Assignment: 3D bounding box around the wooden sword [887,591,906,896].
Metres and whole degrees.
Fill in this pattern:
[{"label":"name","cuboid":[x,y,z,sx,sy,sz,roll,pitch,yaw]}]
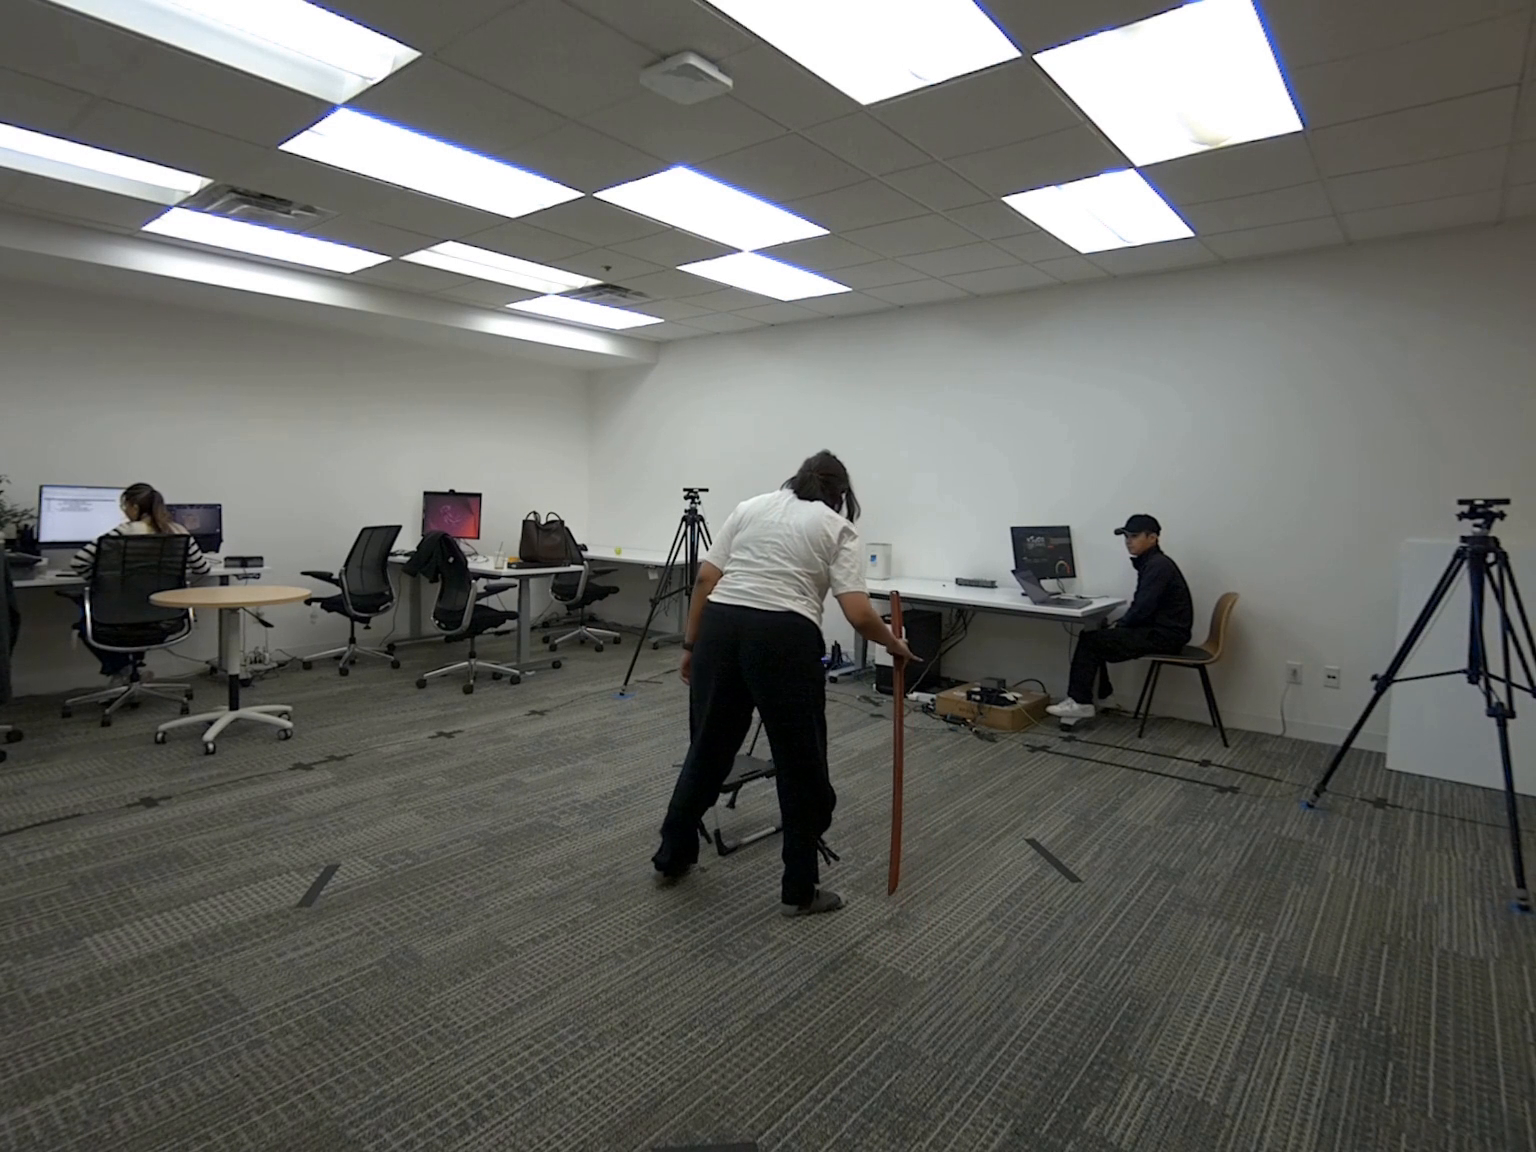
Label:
[{"label":"wooden sword","cuboid":[0.431,0.540,2.887,0.052,1.044,0.023,0,-24,9]}]
